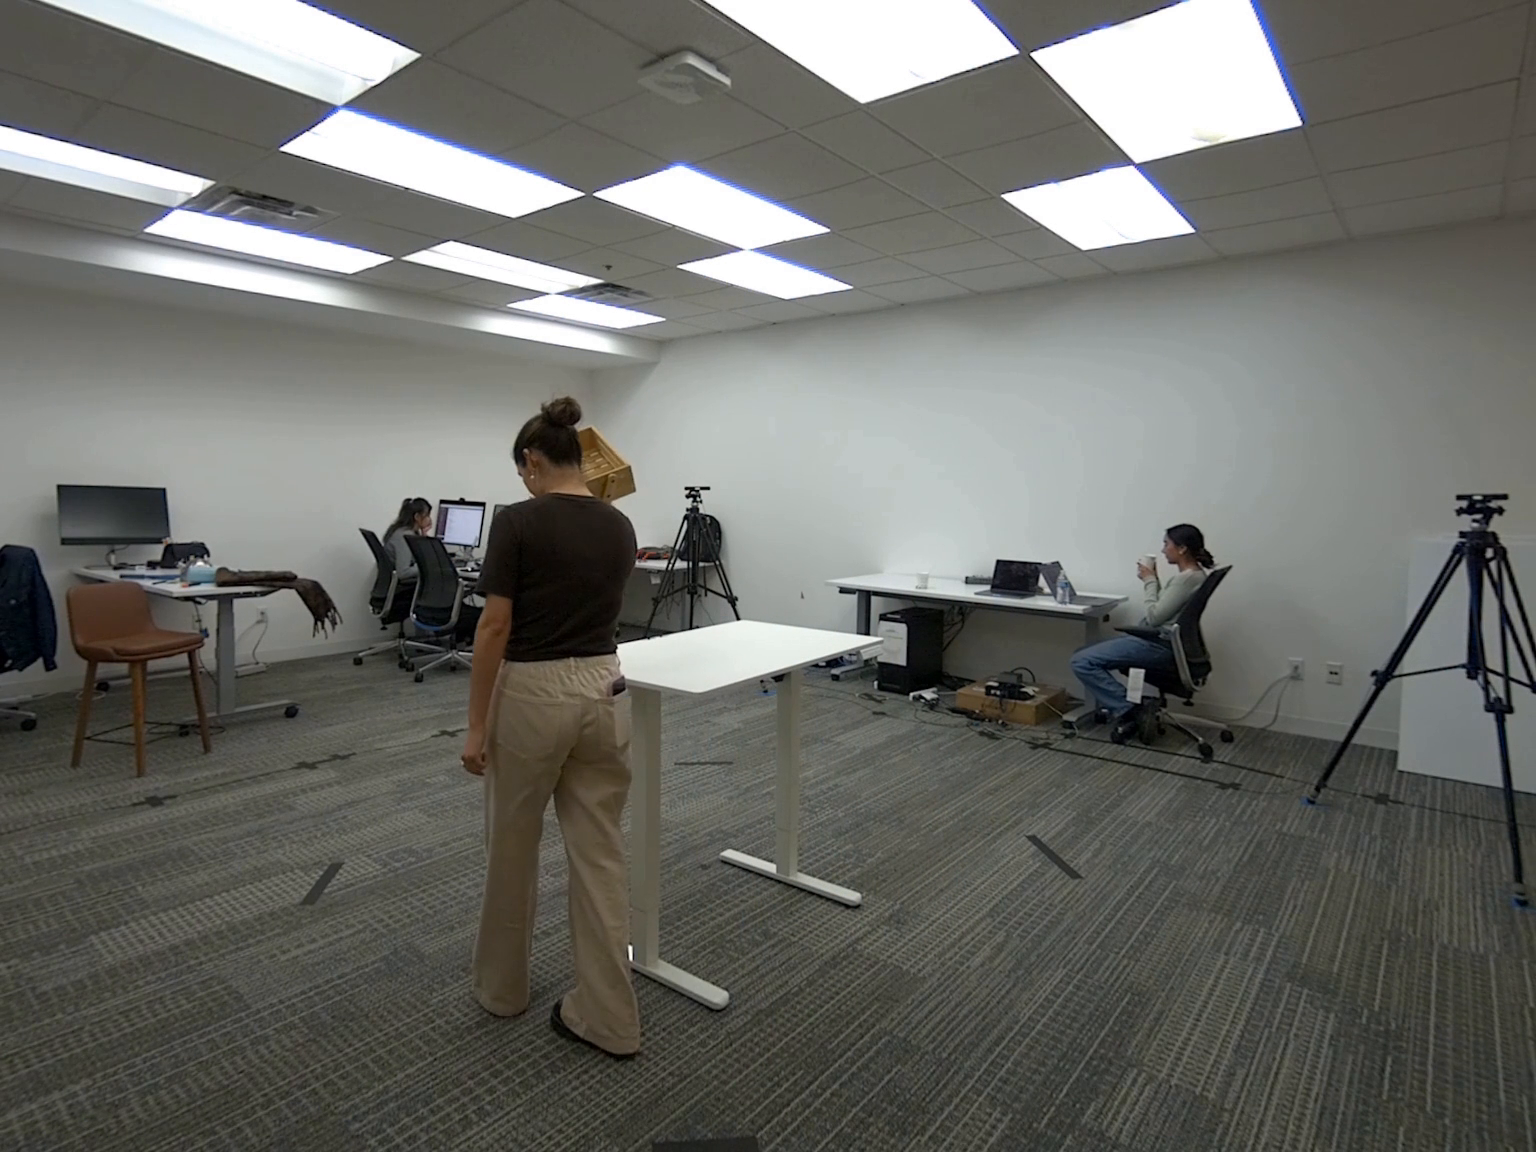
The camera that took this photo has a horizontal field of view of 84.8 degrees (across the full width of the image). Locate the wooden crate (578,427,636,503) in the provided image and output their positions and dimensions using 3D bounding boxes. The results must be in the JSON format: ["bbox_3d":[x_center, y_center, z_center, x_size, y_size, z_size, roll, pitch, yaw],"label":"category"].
[{"bbox_3d":[-0.594,-0.238,2.550,0.299,0.264,0.338,-24,41,-19],"label":"wooden crate"}]
